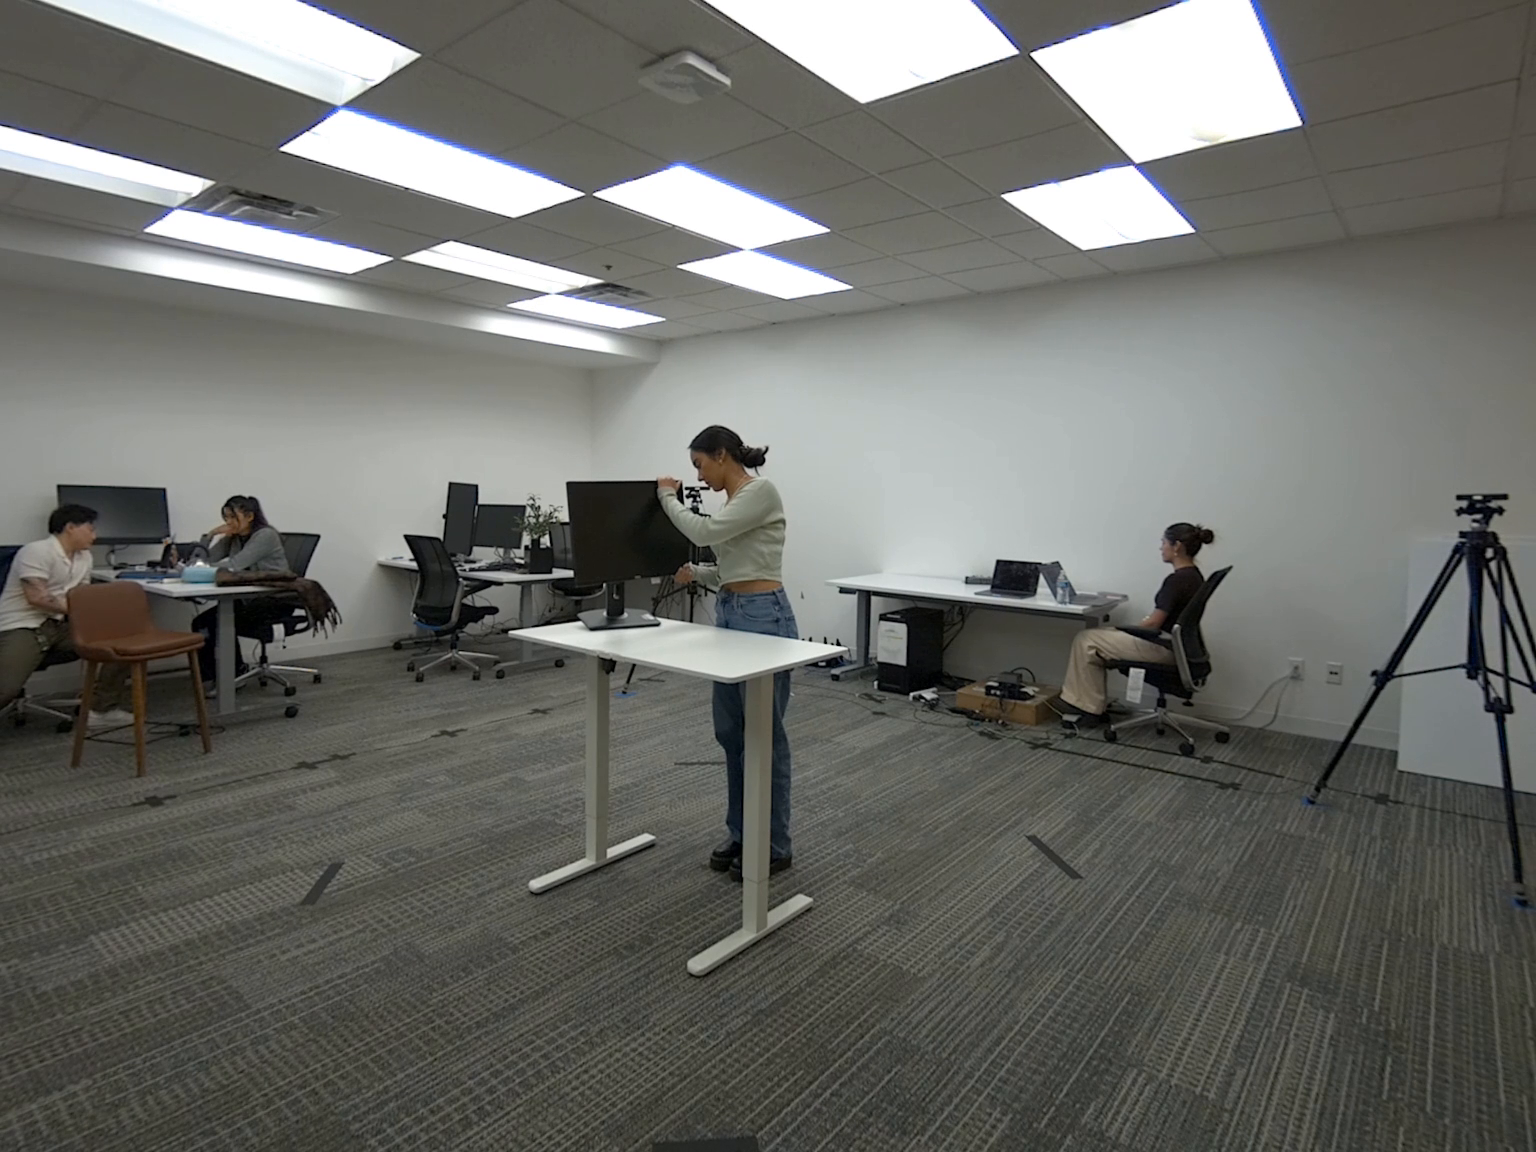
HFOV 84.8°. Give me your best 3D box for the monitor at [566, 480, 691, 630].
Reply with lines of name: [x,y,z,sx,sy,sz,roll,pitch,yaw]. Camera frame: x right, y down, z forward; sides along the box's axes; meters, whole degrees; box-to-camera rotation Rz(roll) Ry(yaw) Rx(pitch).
monitor: [-0.532,-0.085,3.062,0.194,0.518,0.524,13,13,38]
